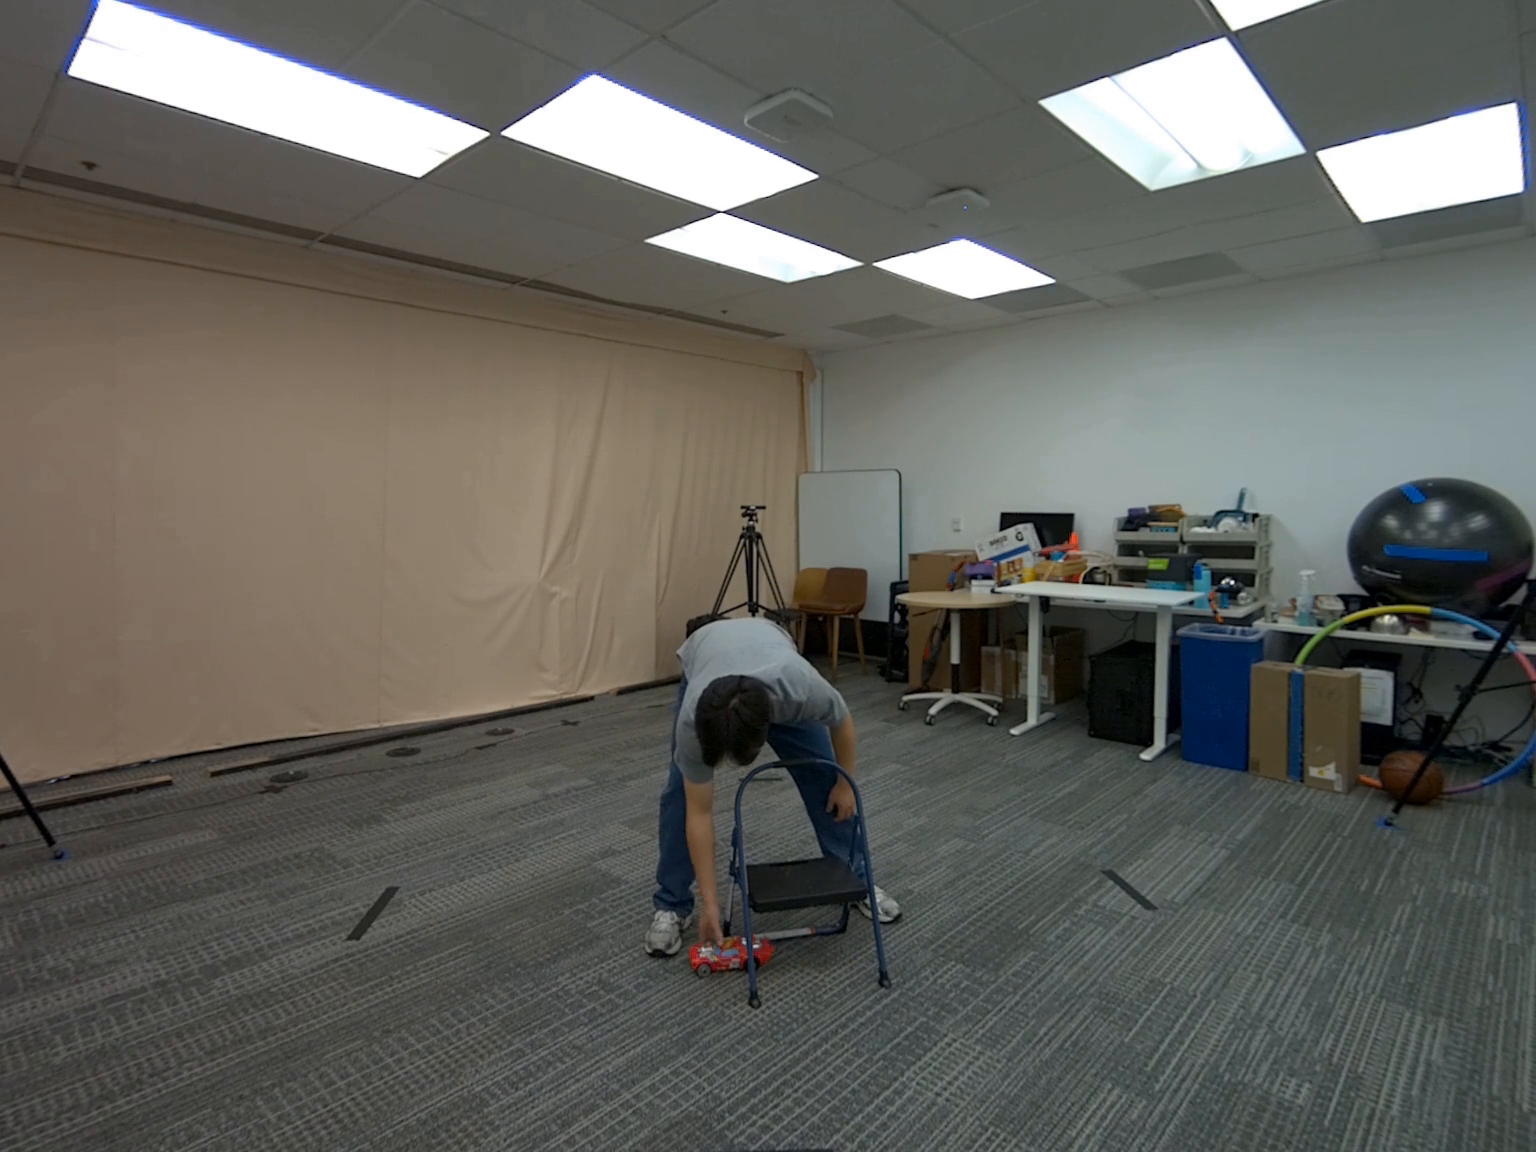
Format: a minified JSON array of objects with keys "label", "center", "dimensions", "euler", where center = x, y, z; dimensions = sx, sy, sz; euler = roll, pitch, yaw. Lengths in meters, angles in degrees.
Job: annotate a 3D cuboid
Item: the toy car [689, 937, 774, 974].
[{"label":"toy car","center":[-0.110,1.158,2.548],"dimensions":[0.252,0.083,0.132],"euler":[-14,7,-11]}]
